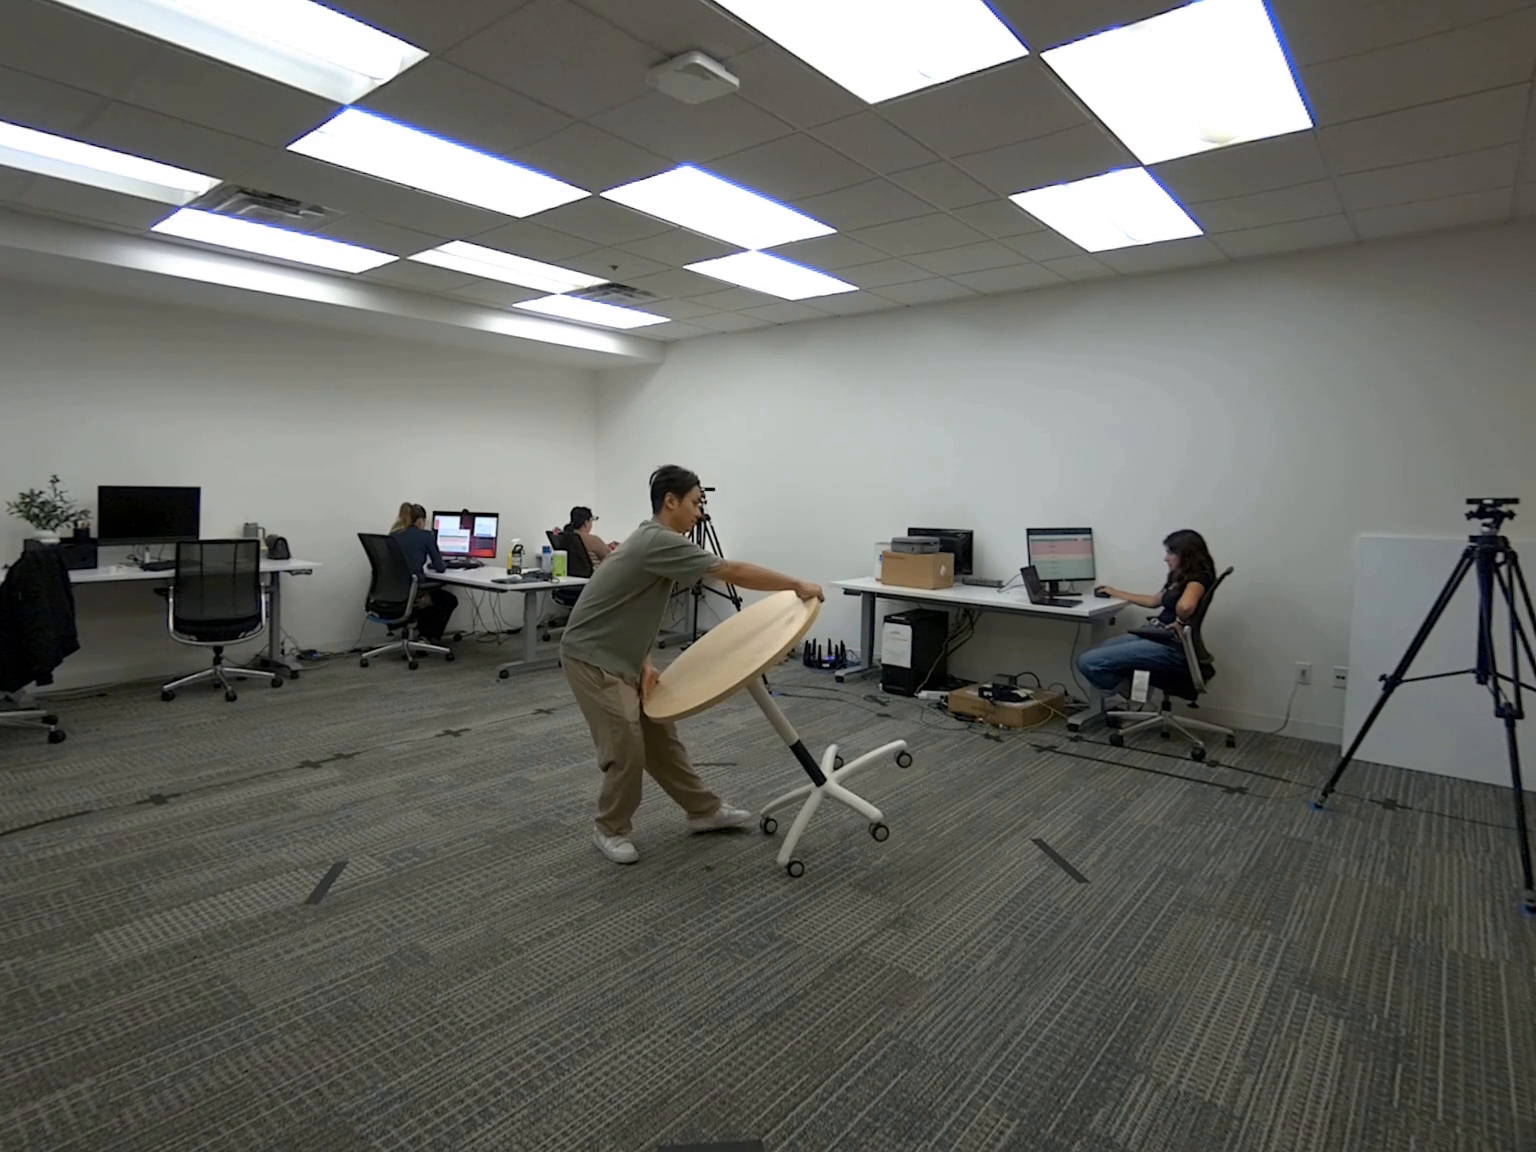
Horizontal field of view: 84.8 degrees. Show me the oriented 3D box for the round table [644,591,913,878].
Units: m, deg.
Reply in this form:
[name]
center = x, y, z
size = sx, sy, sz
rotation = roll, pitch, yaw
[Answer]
[round table]
center = 0.071, 0.577, 3.217
size = 0.786, 0.776, 0.795
rotation = -32, 11, 5
